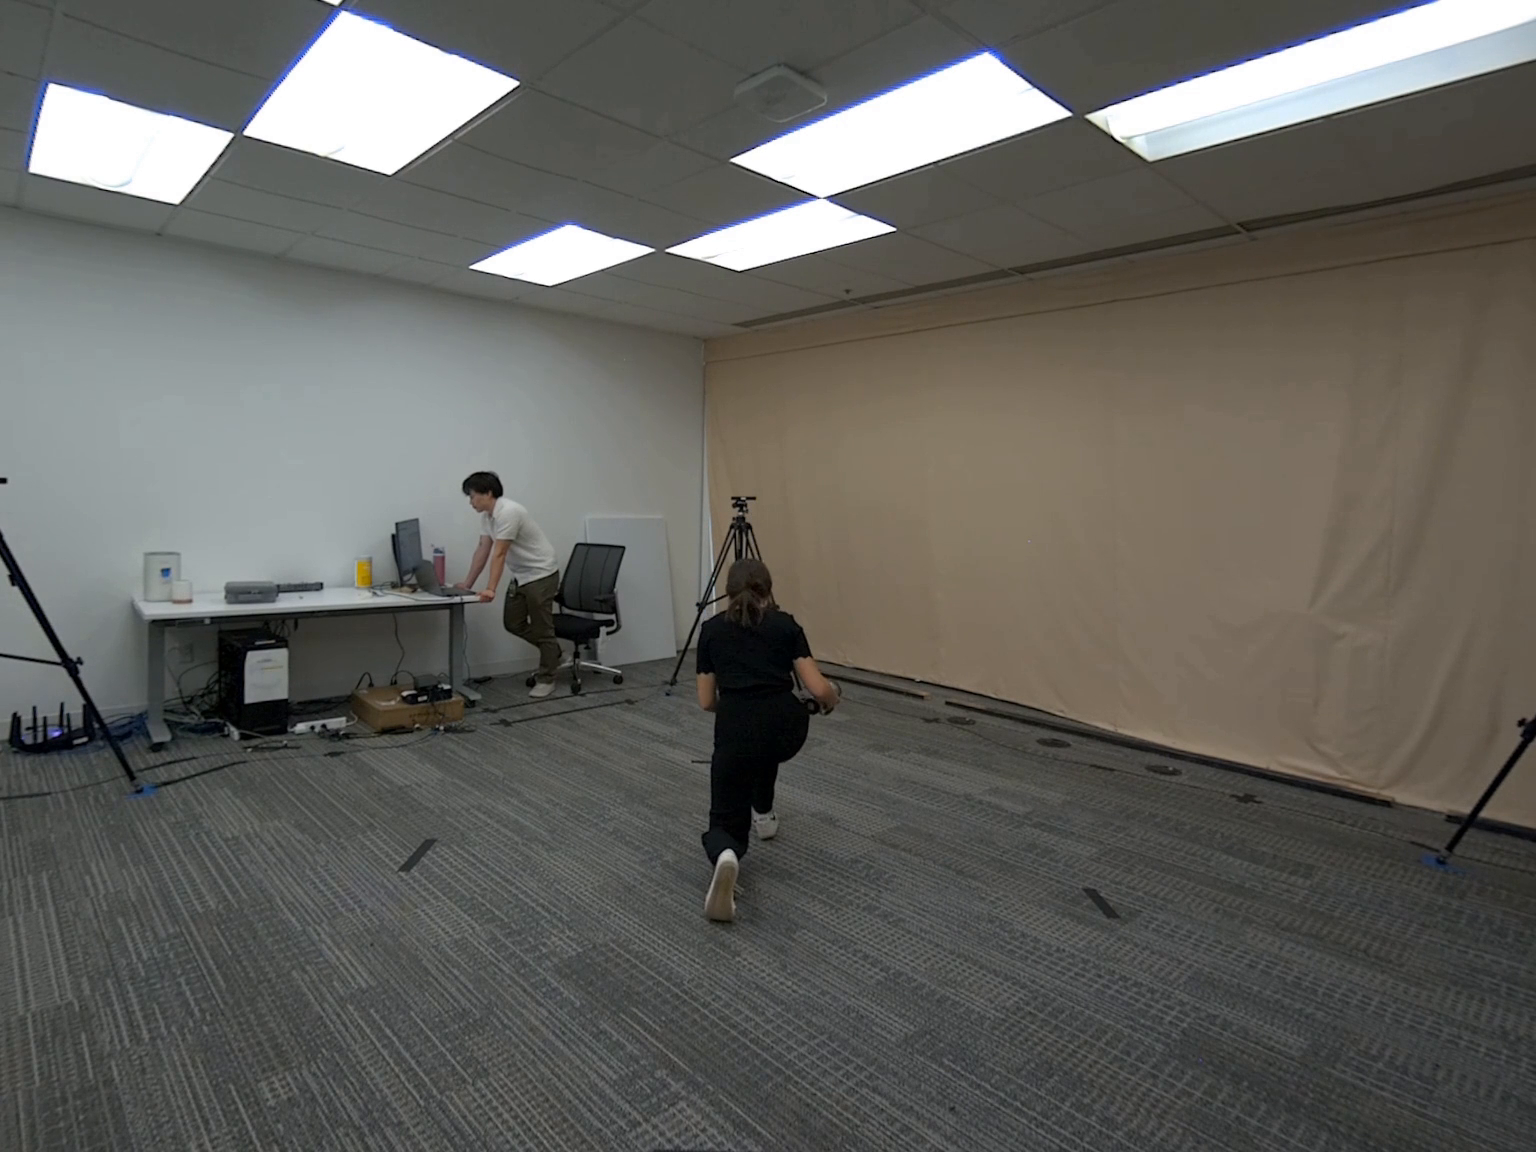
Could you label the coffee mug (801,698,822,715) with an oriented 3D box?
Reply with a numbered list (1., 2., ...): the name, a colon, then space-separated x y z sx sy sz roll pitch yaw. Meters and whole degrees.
1. coffee mug: 0.210 0.522 3.480 0.090 0.120 0.201 21 24 23
